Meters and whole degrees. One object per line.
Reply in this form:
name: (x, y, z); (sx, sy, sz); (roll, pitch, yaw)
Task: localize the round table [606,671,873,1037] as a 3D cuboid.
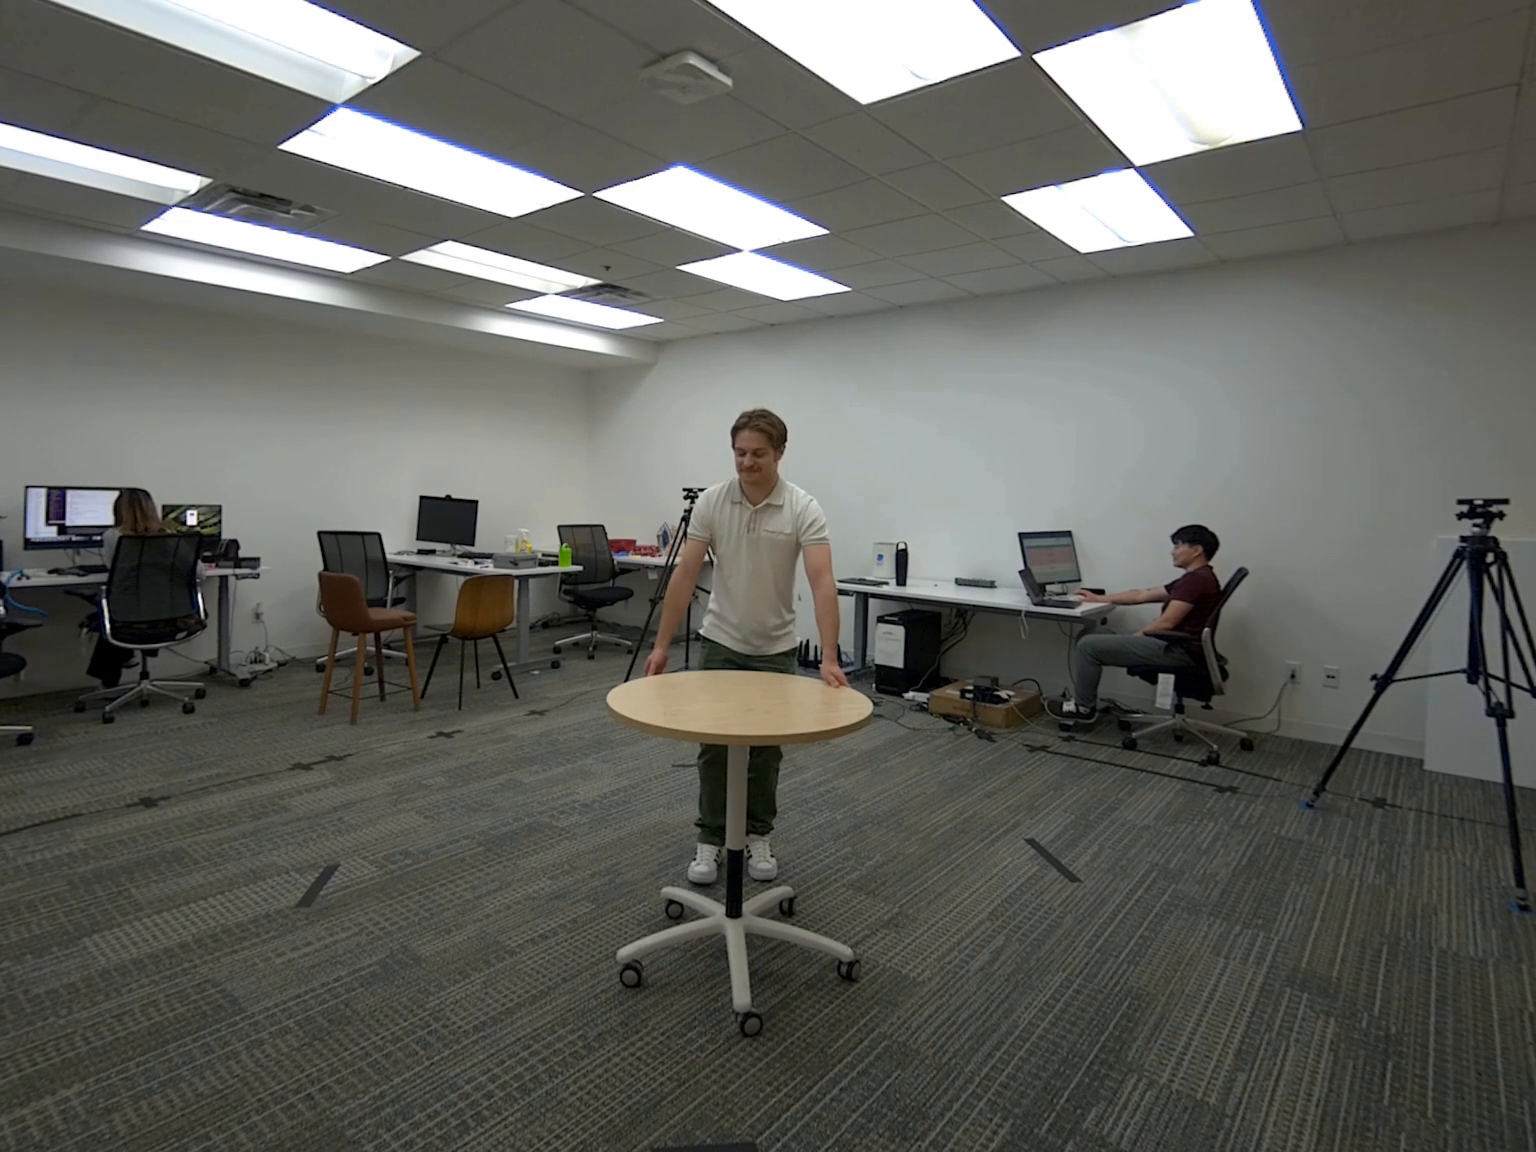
round table: (-0.106, 0.742, 2.489); (0.763, 0.791, 0.768); (1, 5, -2)
